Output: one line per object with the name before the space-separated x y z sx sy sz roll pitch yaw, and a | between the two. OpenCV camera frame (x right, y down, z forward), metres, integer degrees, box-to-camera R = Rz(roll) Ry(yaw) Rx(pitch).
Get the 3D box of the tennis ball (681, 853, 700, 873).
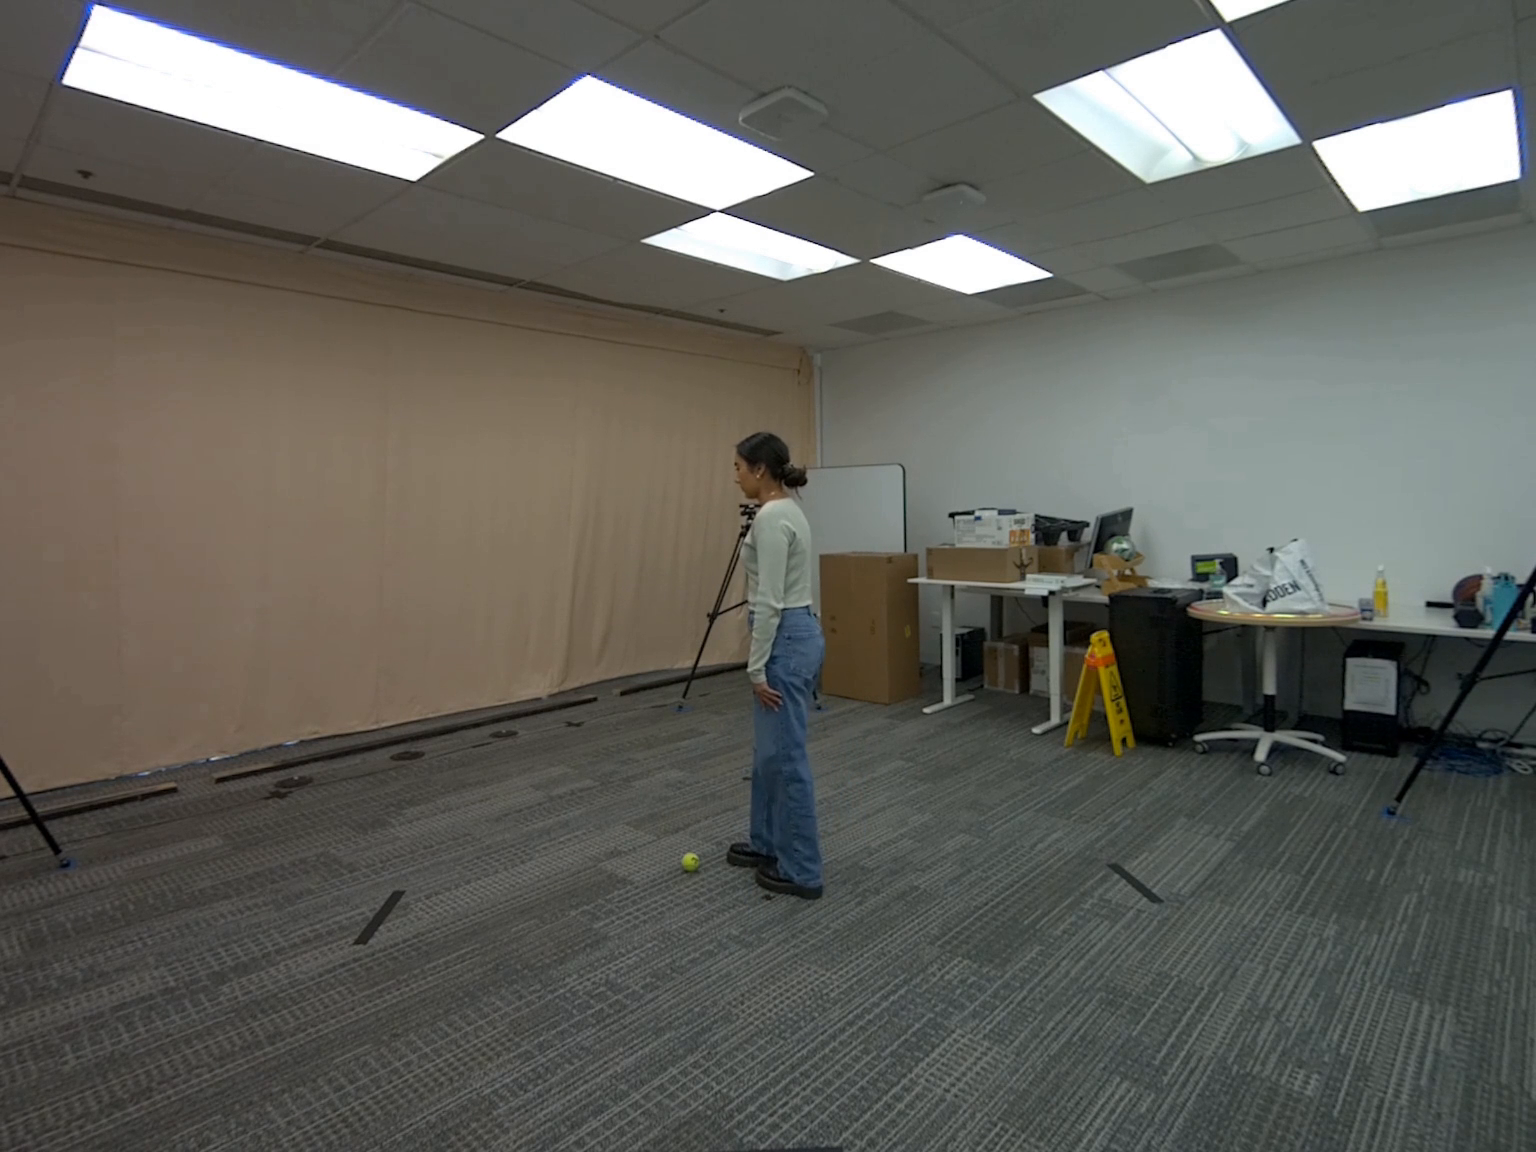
tennis ball | -0.289 1.082 3.206 0.066 0.066 0.067 -1 4 -2
